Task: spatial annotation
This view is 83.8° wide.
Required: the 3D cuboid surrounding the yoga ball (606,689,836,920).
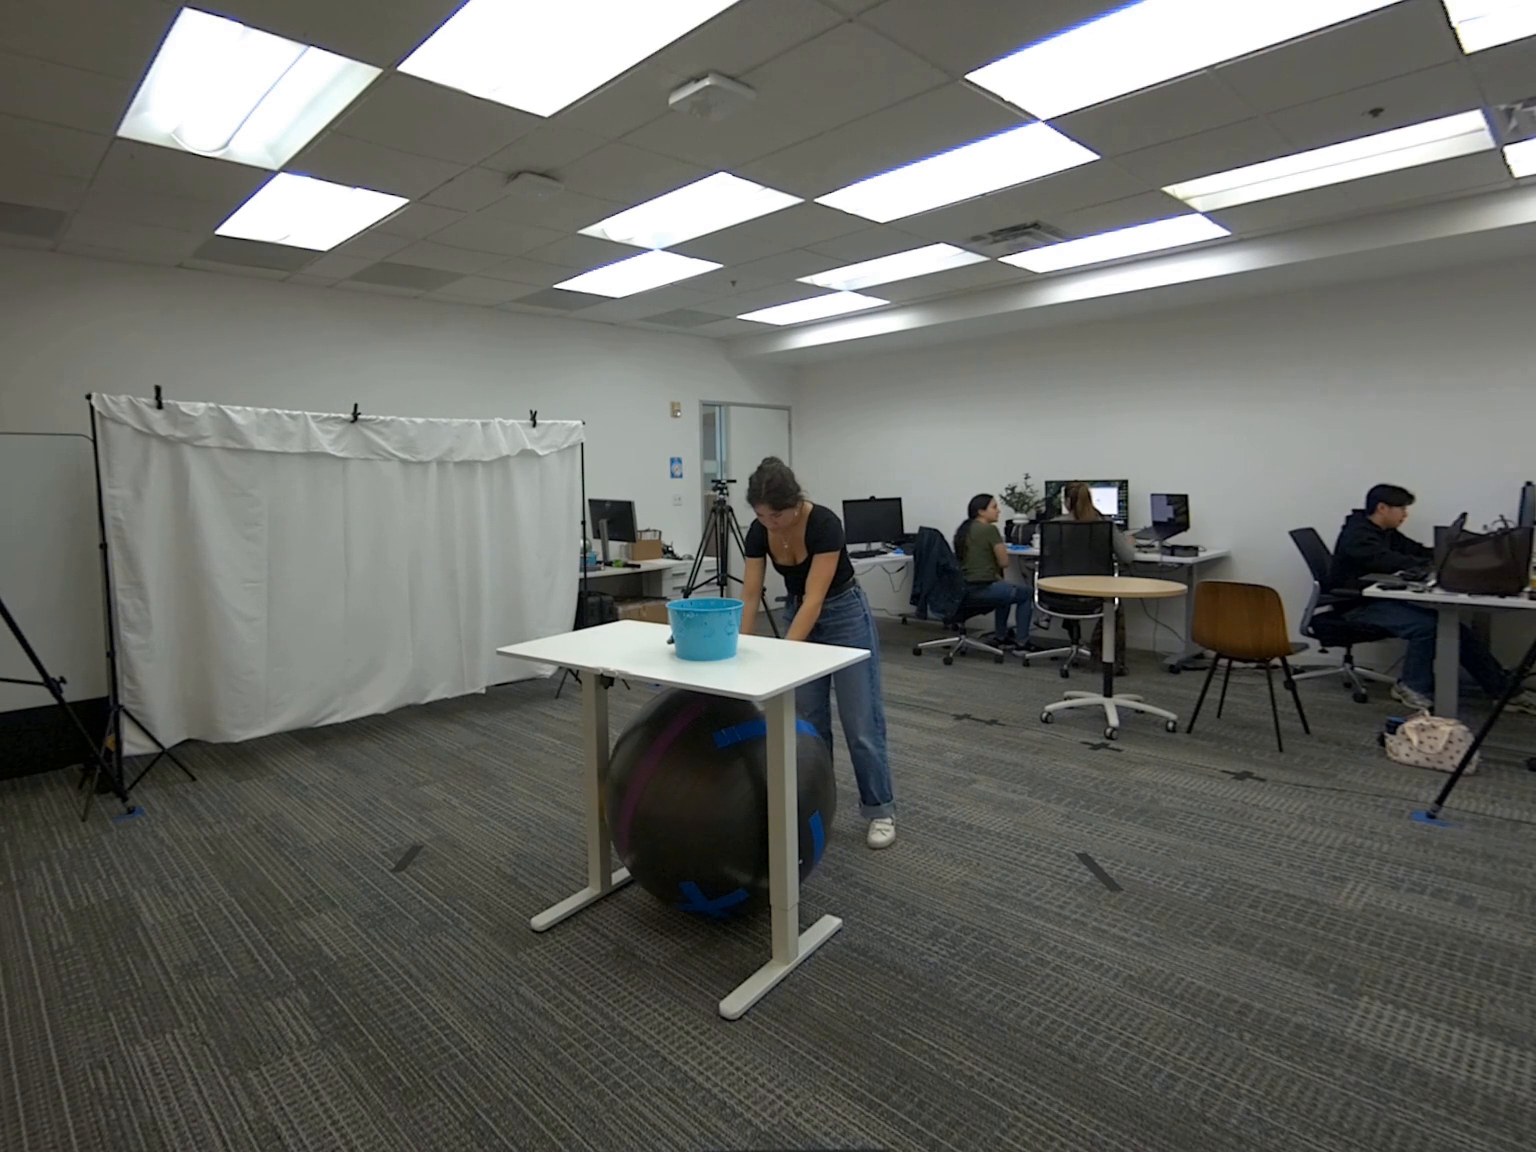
[{"bbox_3d":[-0.158,0.722,2.810,0.757,0.755,0.762,-1,5,-2],"label":"yoga ball"}]
